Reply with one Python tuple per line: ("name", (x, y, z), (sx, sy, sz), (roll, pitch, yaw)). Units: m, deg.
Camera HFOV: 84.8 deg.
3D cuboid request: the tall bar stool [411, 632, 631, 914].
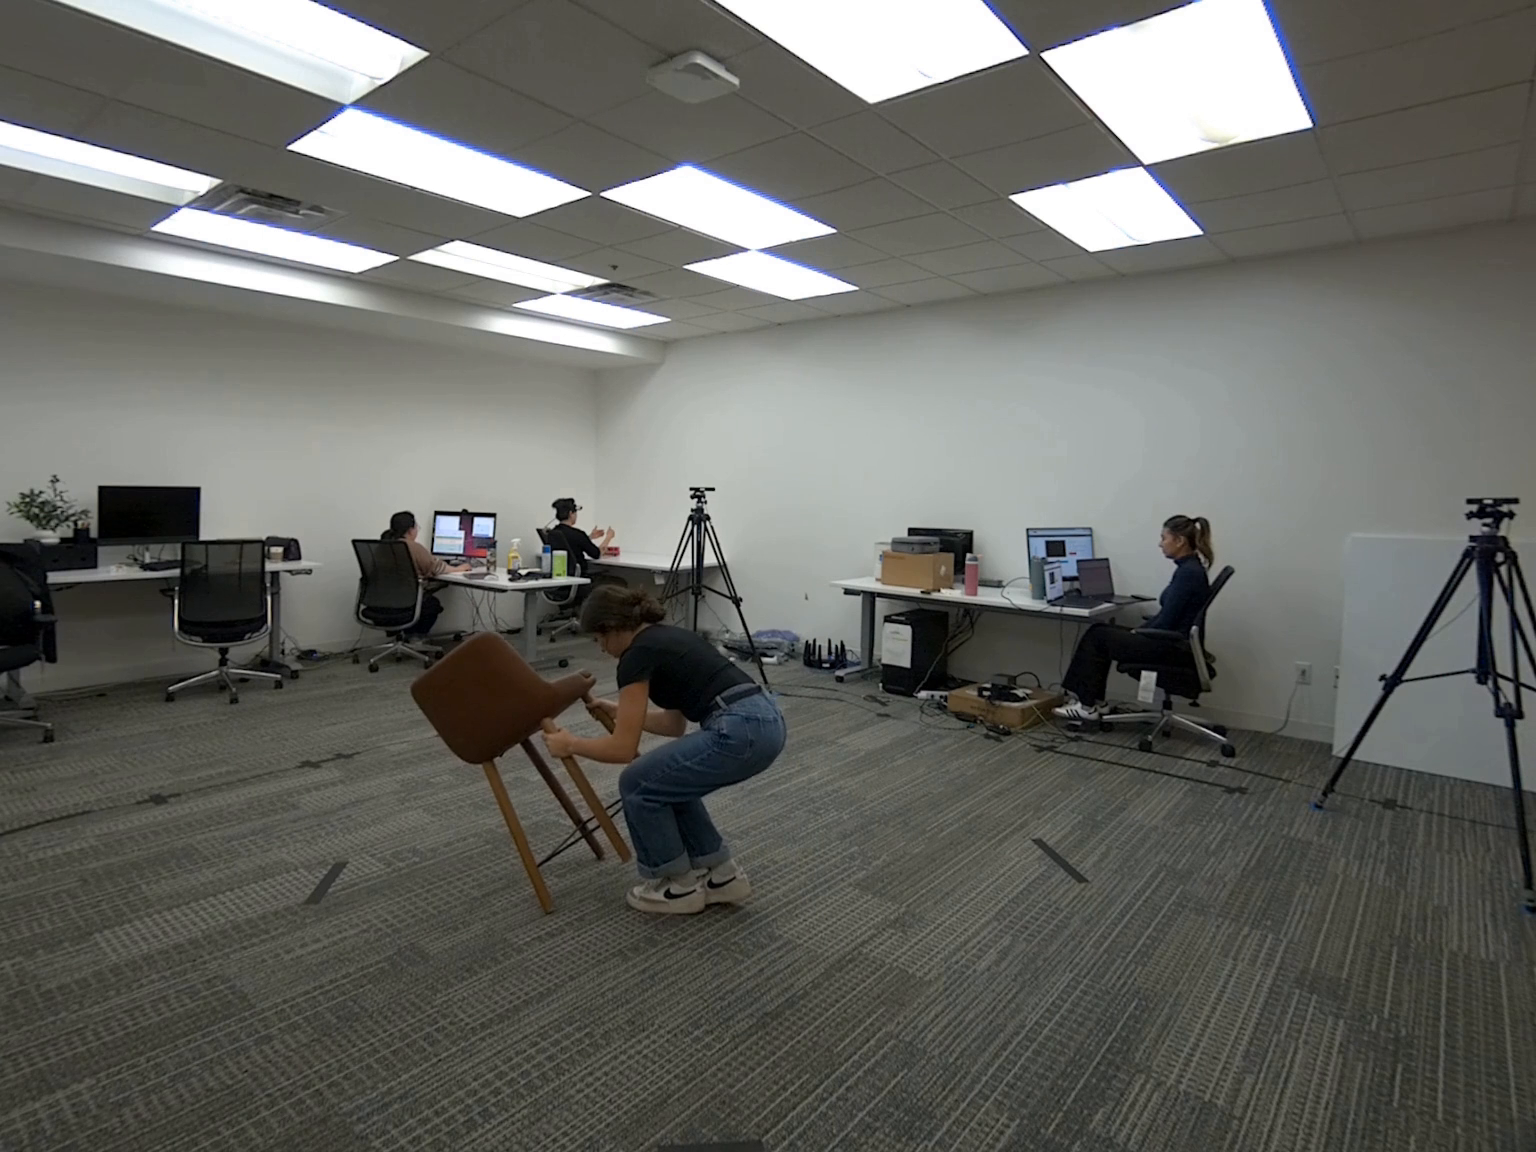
("tall bar stool", (-0.788, 0.615, 2.972), (0.458, 0.897, 0.462), (-37, -5, 16))
